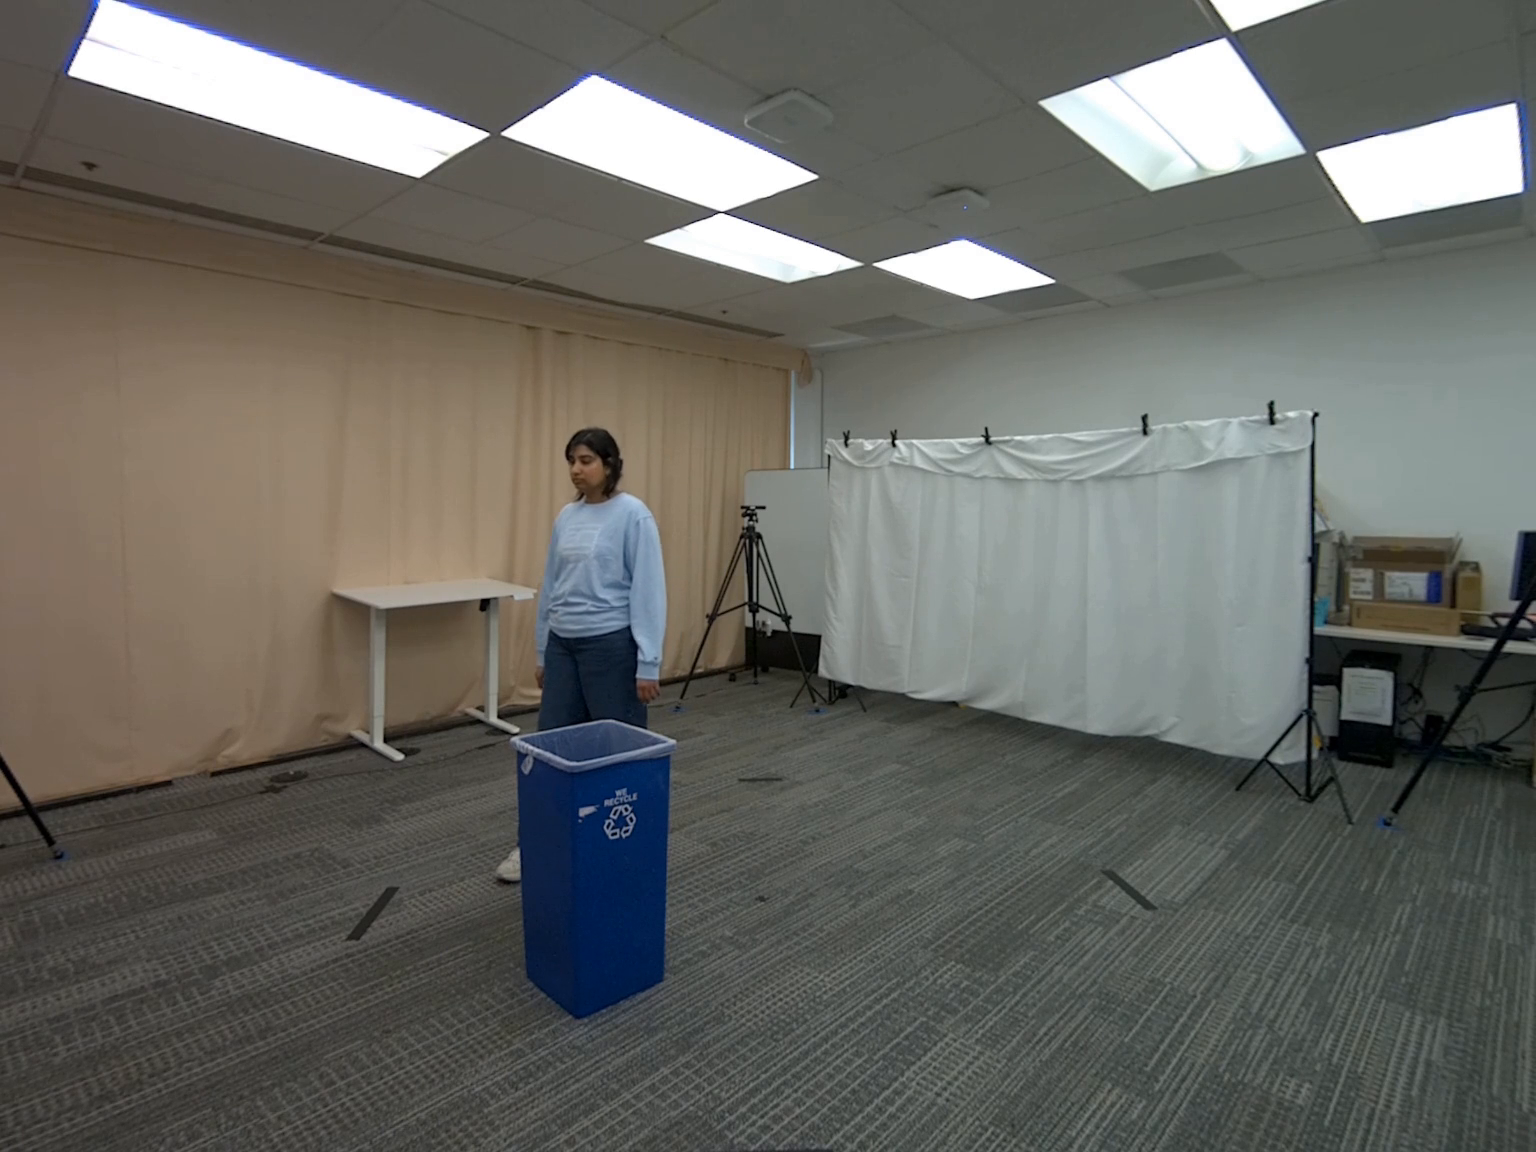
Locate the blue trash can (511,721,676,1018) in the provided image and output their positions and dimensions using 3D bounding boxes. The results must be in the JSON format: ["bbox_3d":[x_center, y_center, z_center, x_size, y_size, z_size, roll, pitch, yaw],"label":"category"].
[{"bbox_3d":[-0.500,0.834,2.470,0.366,0.713,0.386,-1,2,-43],"label":"blue trash can"}]
